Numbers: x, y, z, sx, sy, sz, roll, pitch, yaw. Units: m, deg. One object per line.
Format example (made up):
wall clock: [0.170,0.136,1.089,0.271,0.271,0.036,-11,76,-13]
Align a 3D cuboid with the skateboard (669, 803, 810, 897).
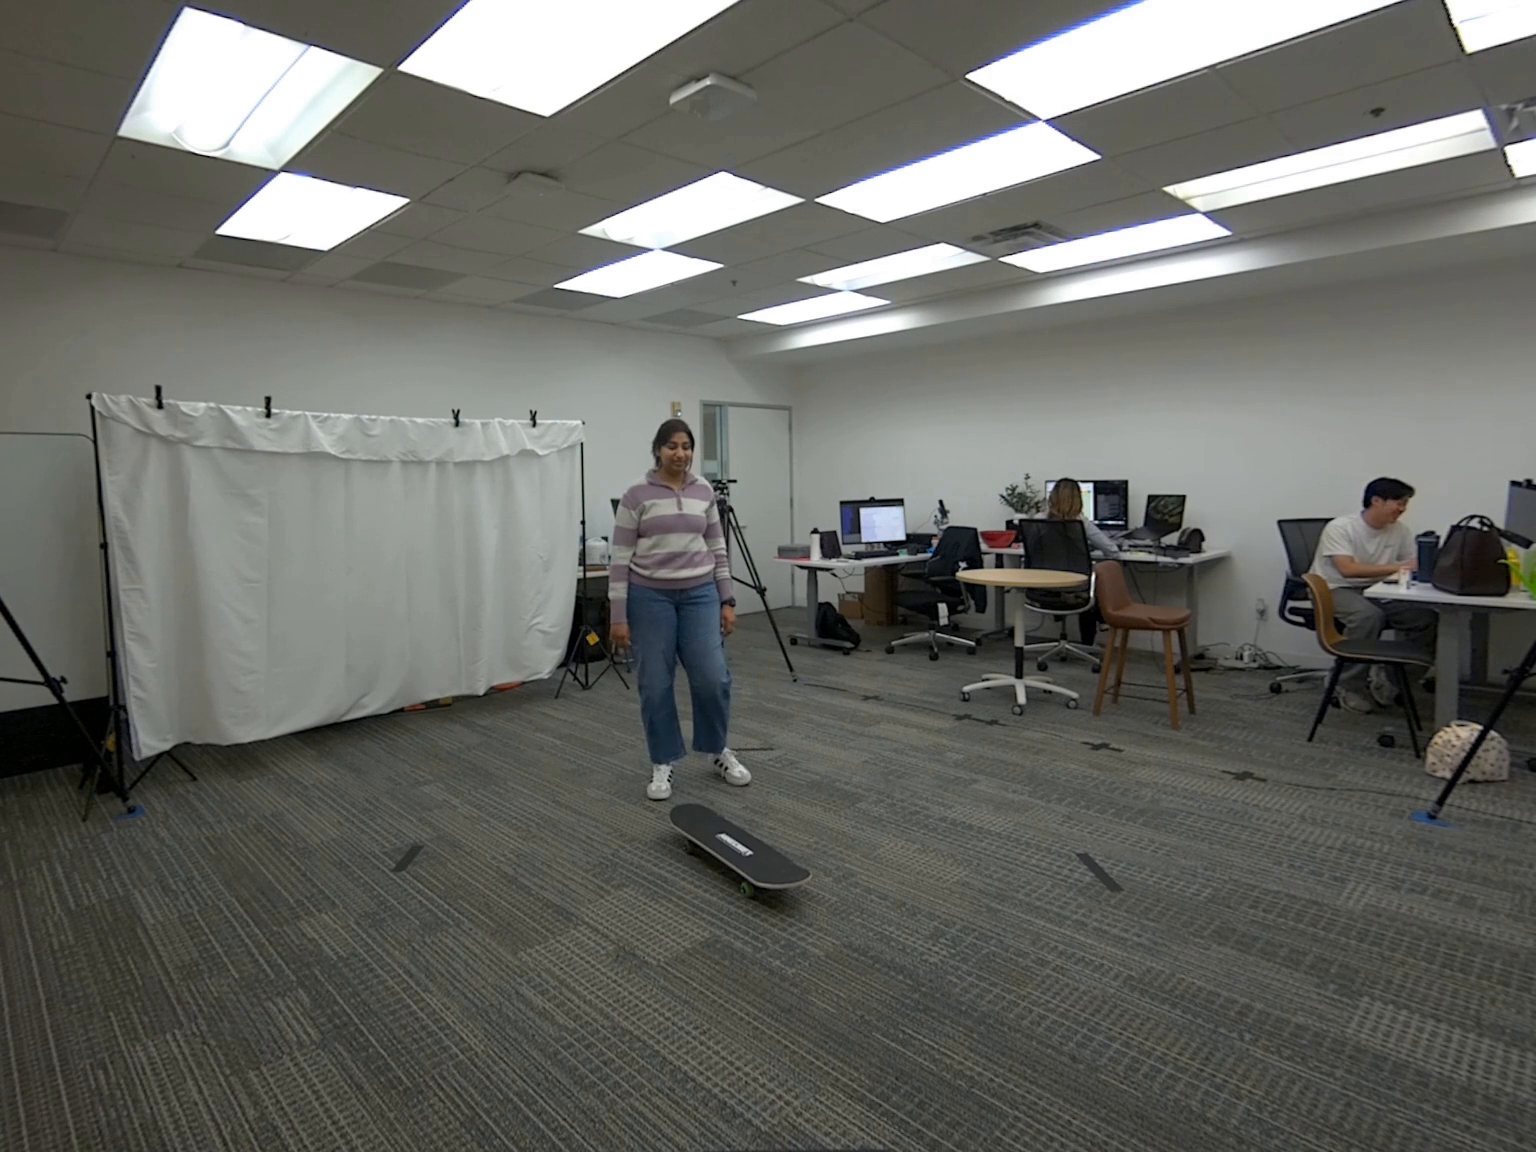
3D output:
skateboard: [-0.122,1.000,3.067,0.189,0.110,0.808,-6,8,-33]
